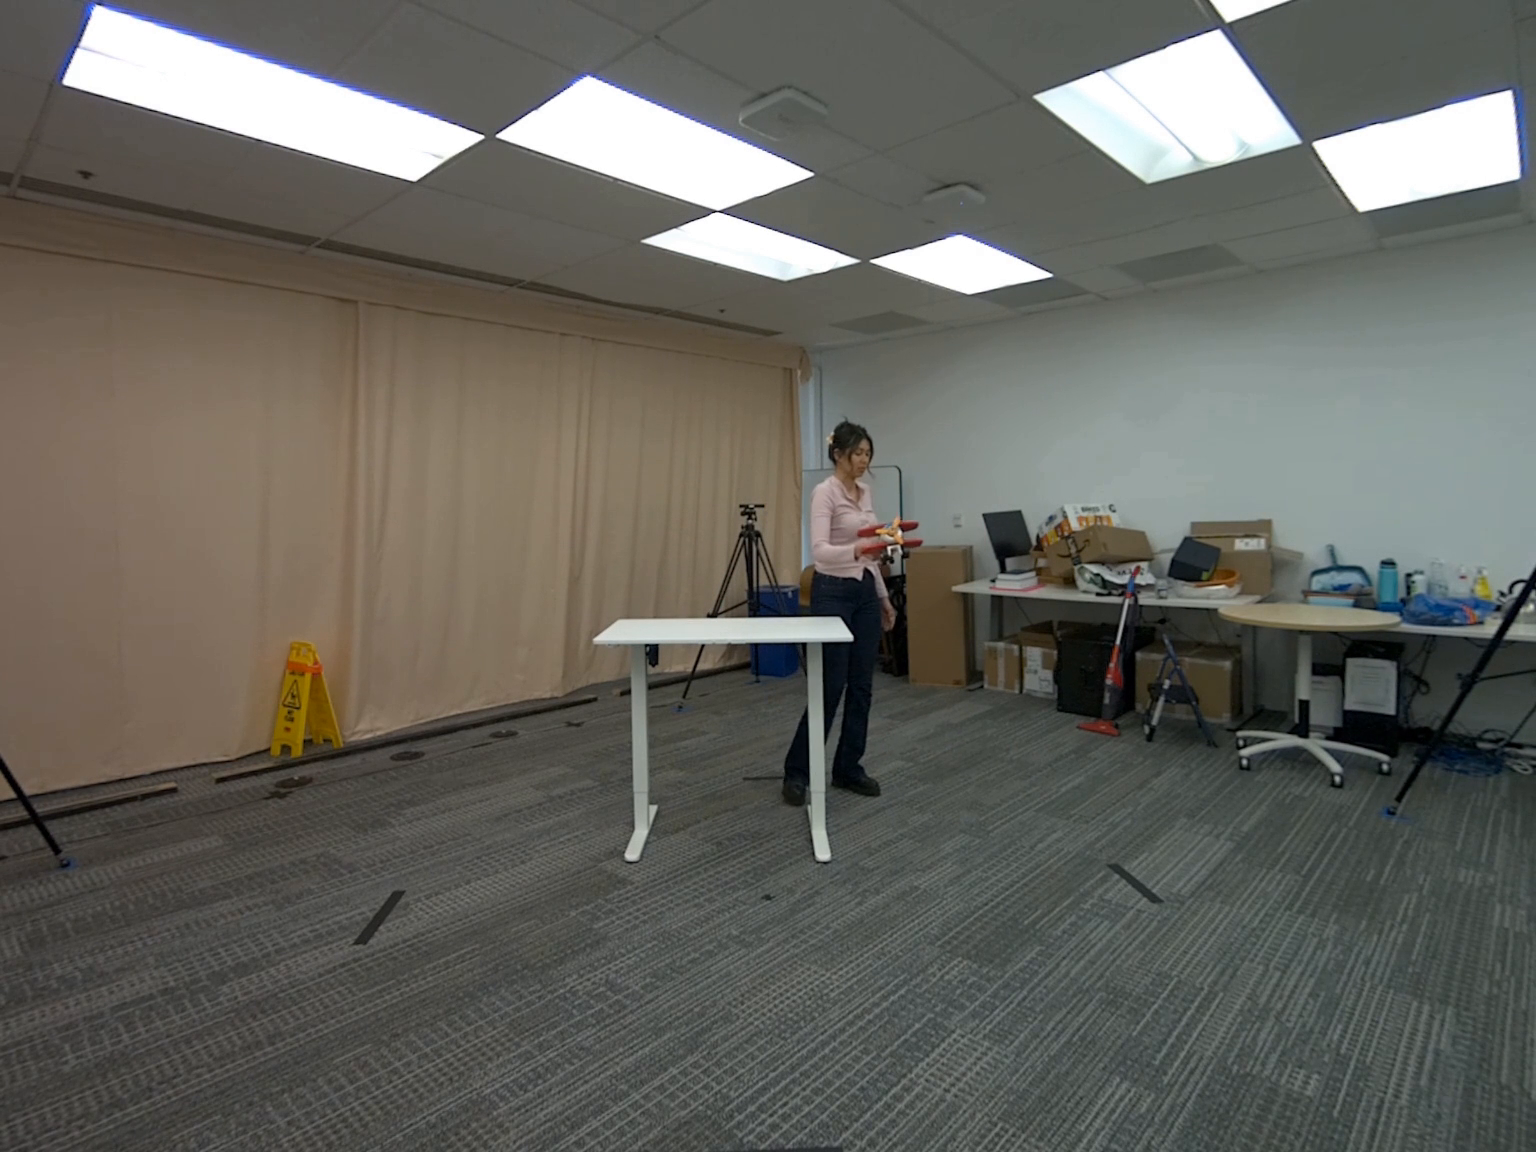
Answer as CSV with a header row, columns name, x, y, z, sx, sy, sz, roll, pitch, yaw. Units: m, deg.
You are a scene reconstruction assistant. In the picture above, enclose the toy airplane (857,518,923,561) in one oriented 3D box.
name,x,y,z,sx,sy,sz,roll,pitch,yaw
toy airplane,0.491,-0.134,3.491,0.245,0.157,0.264,-6,-5,-28
